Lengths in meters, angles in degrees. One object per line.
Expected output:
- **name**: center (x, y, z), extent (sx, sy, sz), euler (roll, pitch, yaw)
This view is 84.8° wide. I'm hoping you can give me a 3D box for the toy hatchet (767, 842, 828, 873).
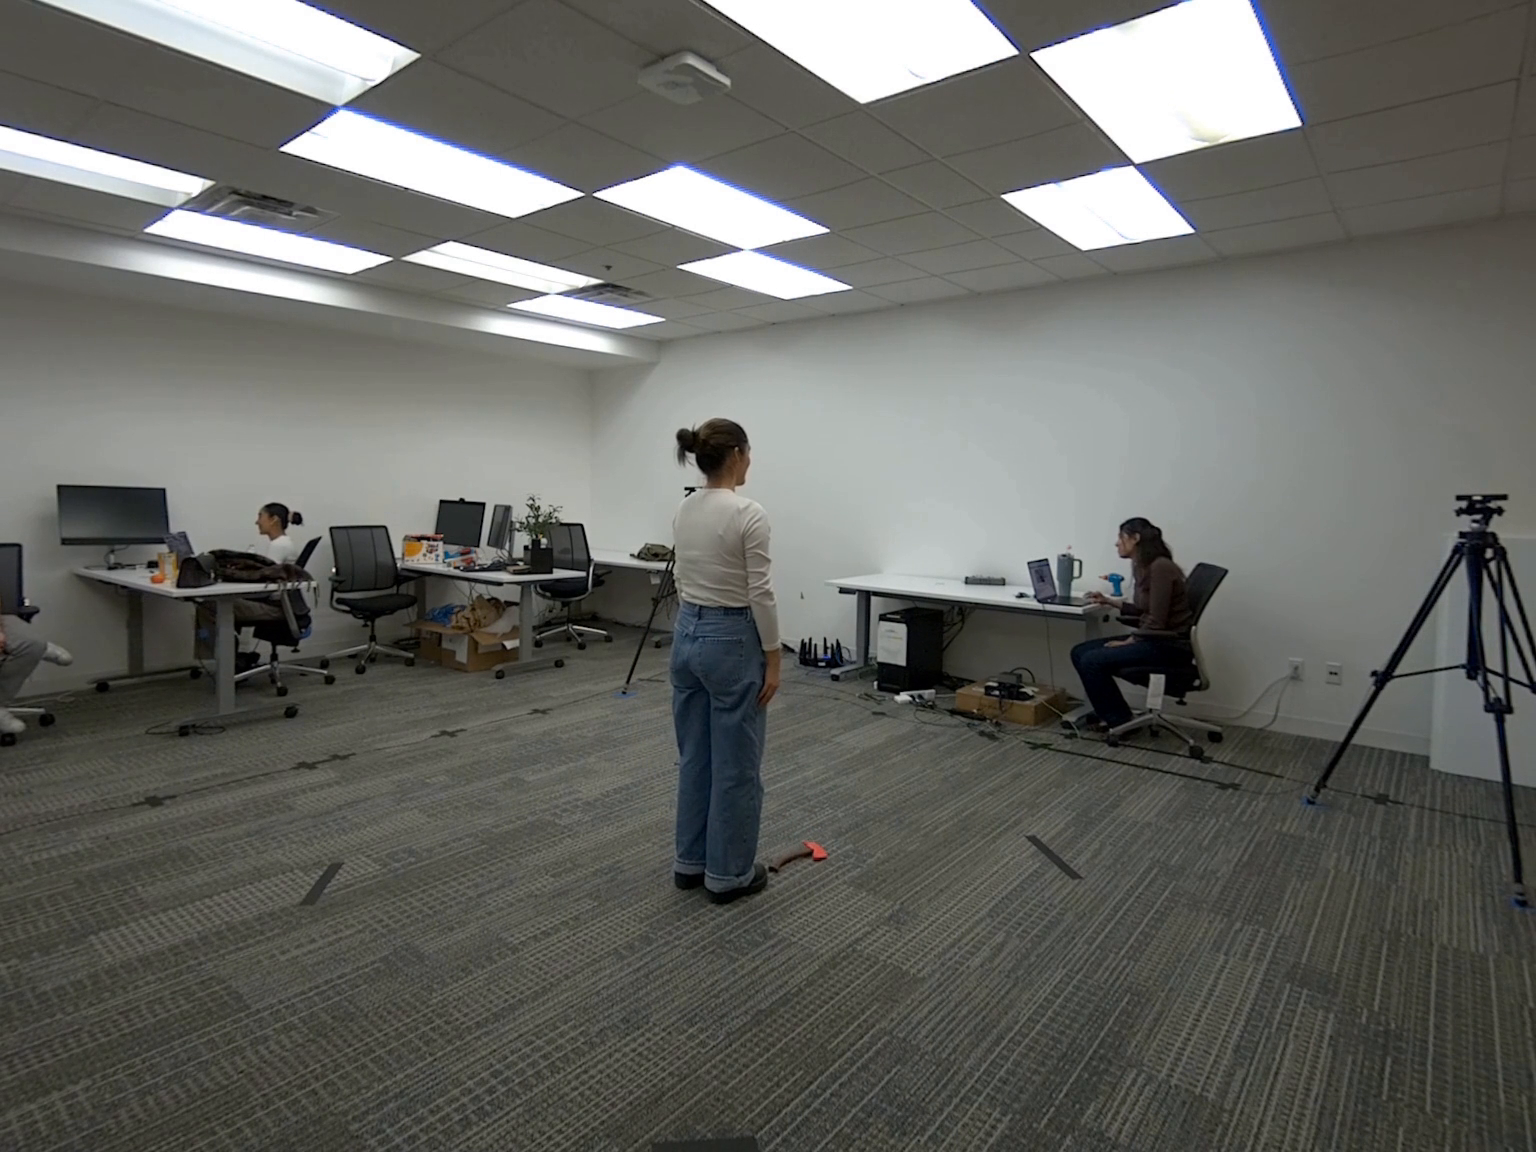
- **toy hatchet**: center (0.110, 1.050, 3.173), extent (0.135, 0.029, 0.263), euler (9, 11, 35)
